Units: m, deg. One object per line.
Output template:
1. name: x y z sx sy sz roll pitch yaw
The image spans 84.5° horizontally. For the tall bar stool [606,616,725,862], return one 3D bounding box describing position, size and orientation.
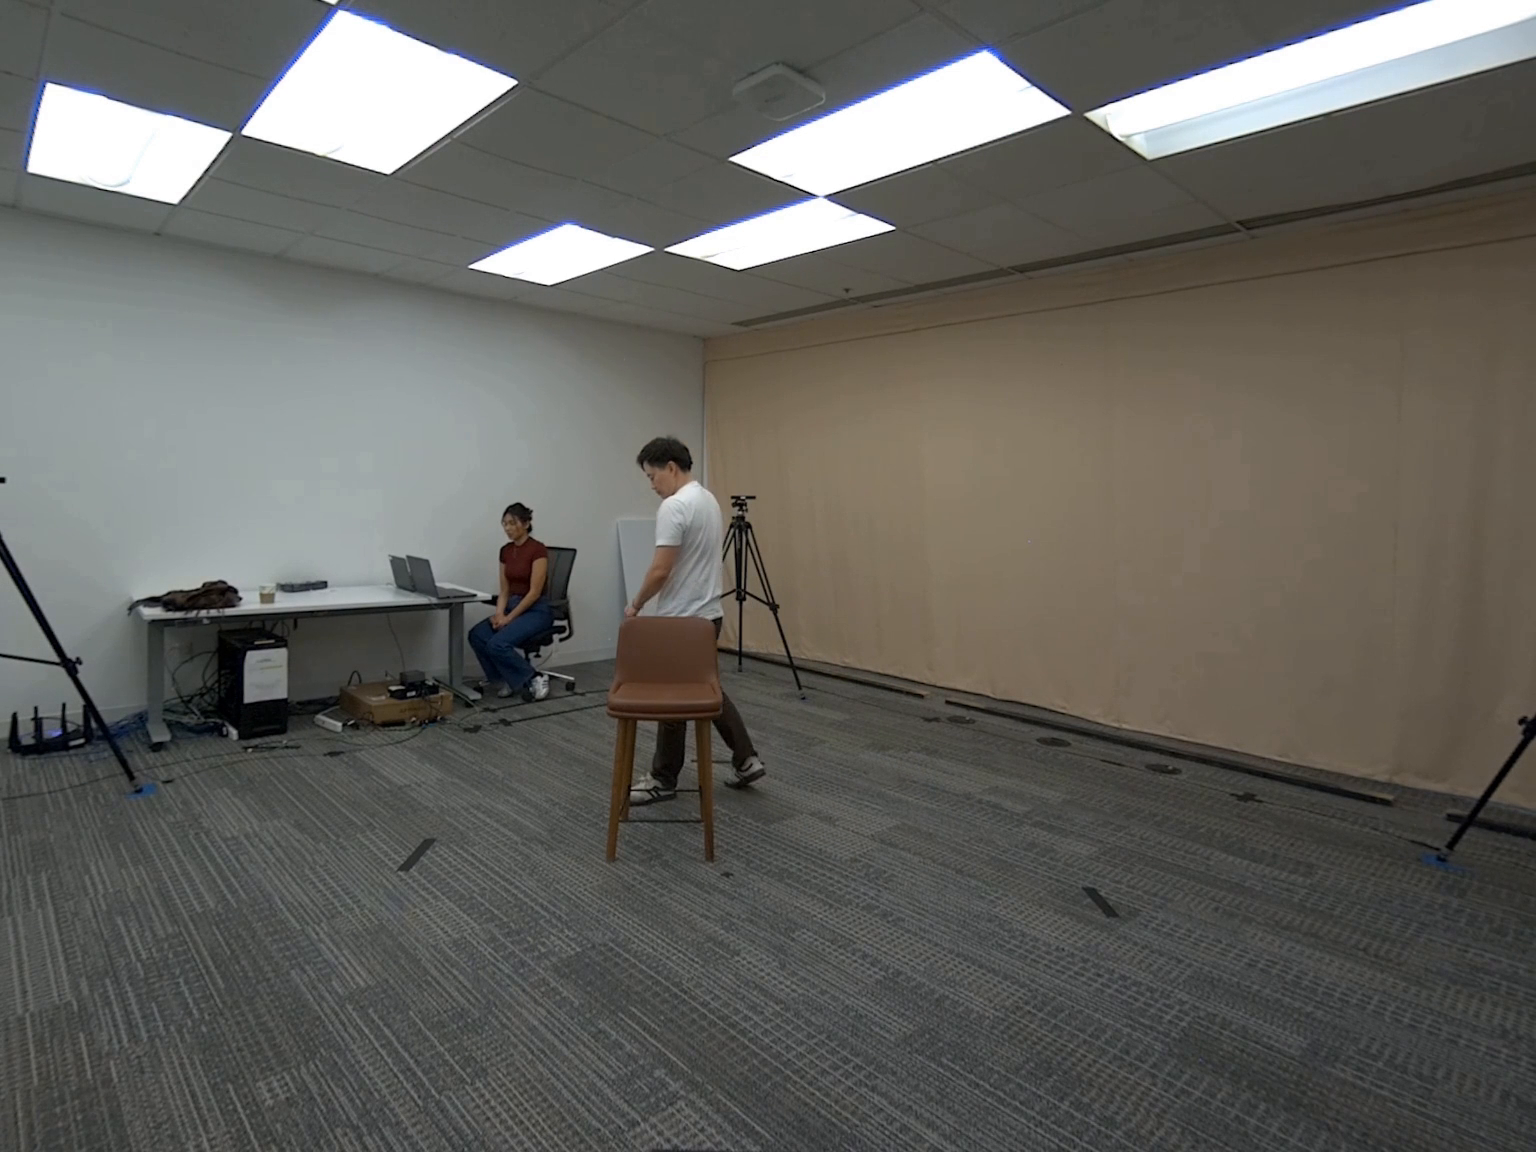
1. tall bar stool: -0.425 0.634 3.406 0.455 0.889 0.469 1 1 -4
